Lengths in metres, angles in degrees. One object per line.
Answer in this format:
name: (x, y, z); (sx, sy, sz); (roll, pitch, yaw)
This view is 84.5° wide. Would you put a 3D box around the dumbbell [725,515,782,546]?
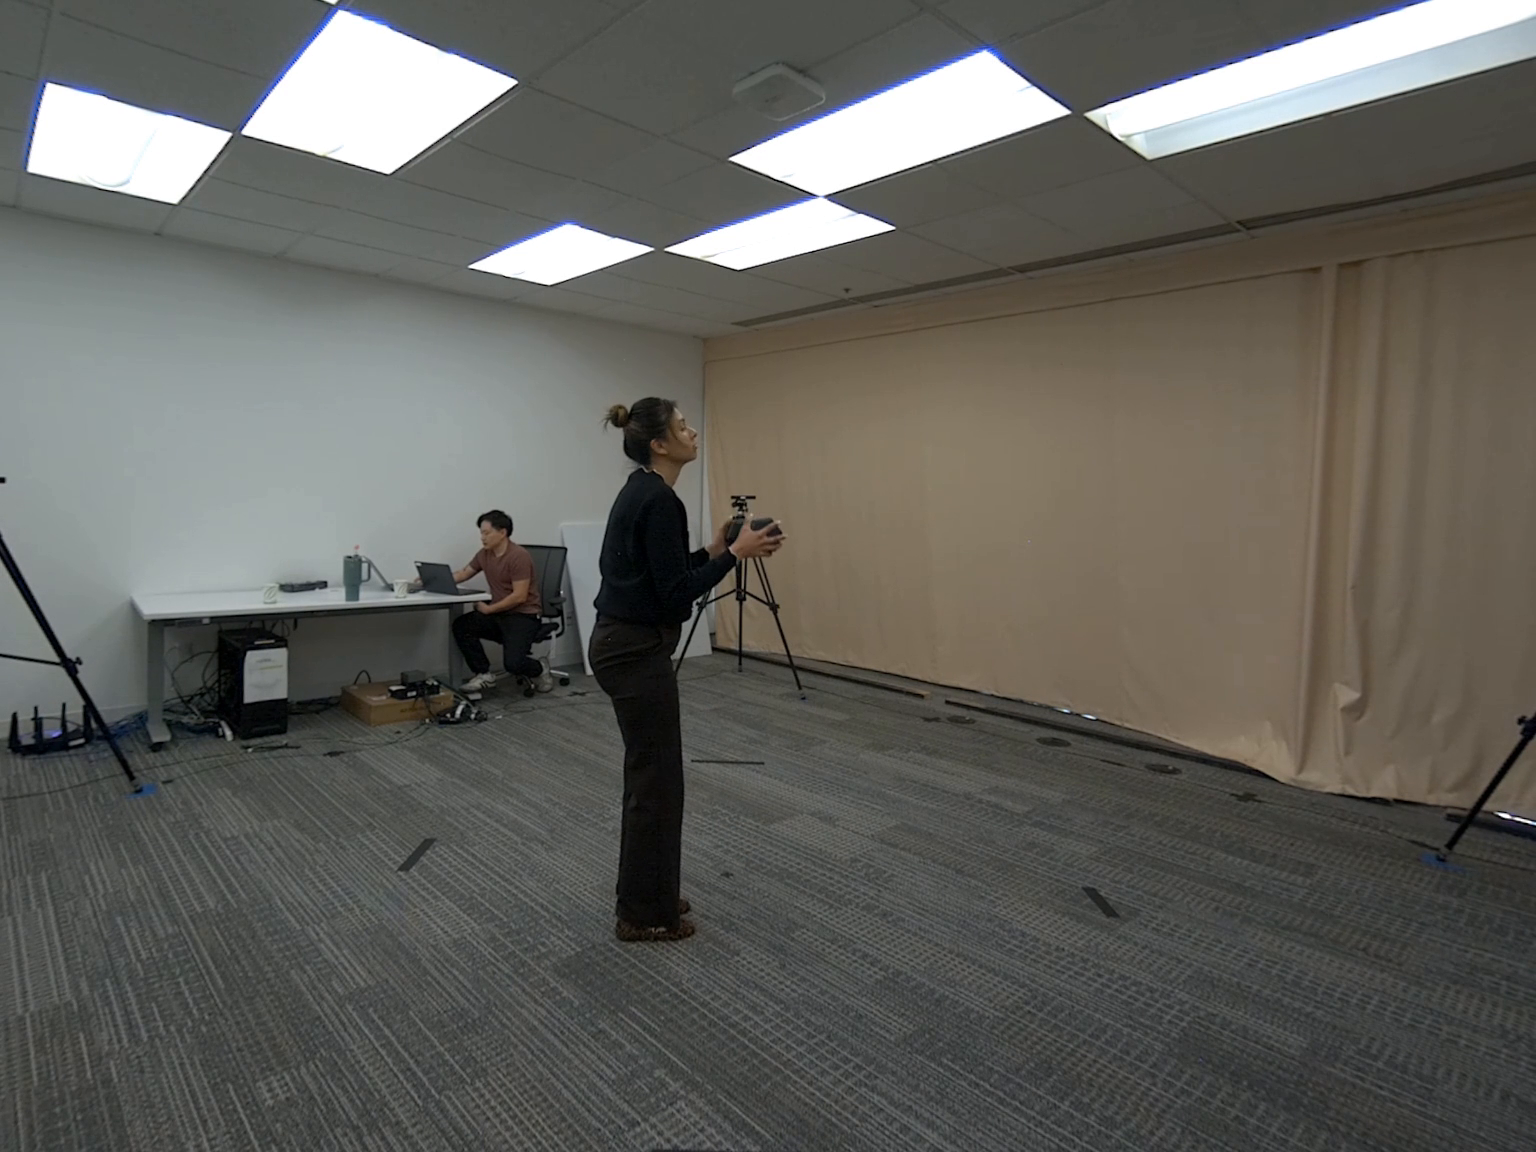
dumbbell: (-0.080, -0.115, 2.715); (0.122, 0.108, 0.297); (-3, 5, -14)
